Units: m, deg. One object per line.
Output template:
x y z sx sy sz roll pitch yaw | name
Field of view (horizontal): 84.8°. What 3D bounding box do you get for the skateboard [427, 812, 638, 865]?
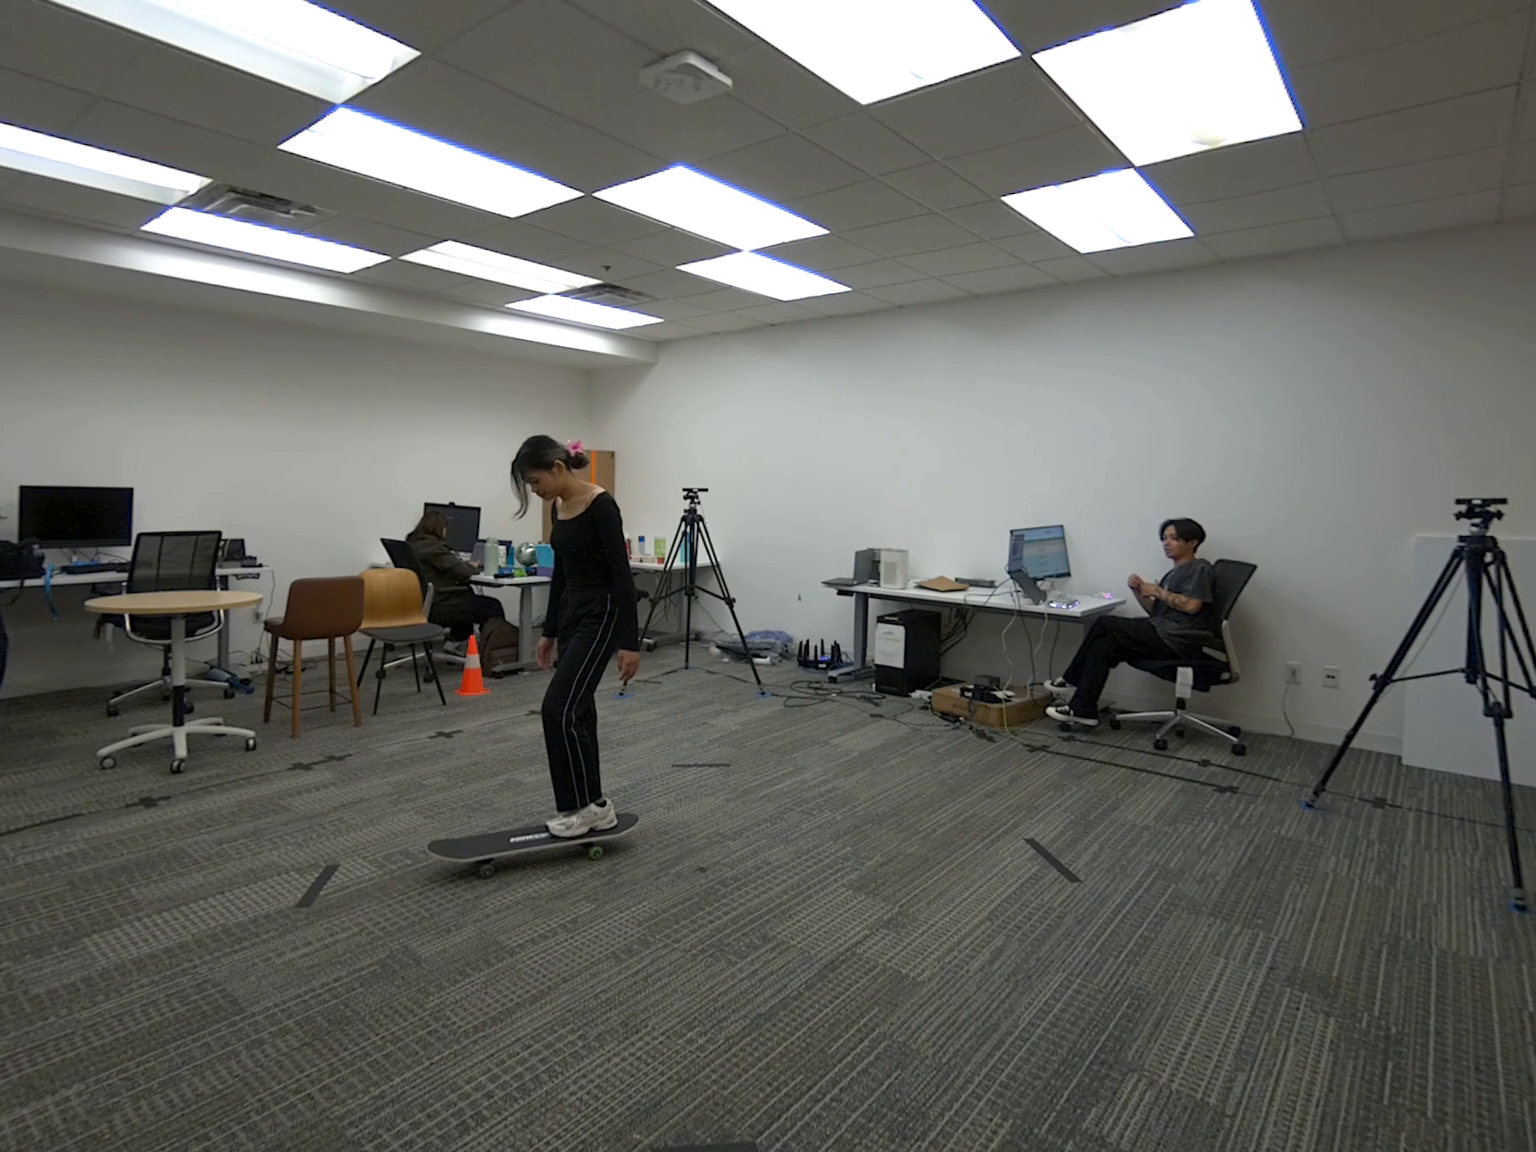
-0.860 0.994 3.162 0.767 0.110 0.199 -2 6 -25 | skateboard
